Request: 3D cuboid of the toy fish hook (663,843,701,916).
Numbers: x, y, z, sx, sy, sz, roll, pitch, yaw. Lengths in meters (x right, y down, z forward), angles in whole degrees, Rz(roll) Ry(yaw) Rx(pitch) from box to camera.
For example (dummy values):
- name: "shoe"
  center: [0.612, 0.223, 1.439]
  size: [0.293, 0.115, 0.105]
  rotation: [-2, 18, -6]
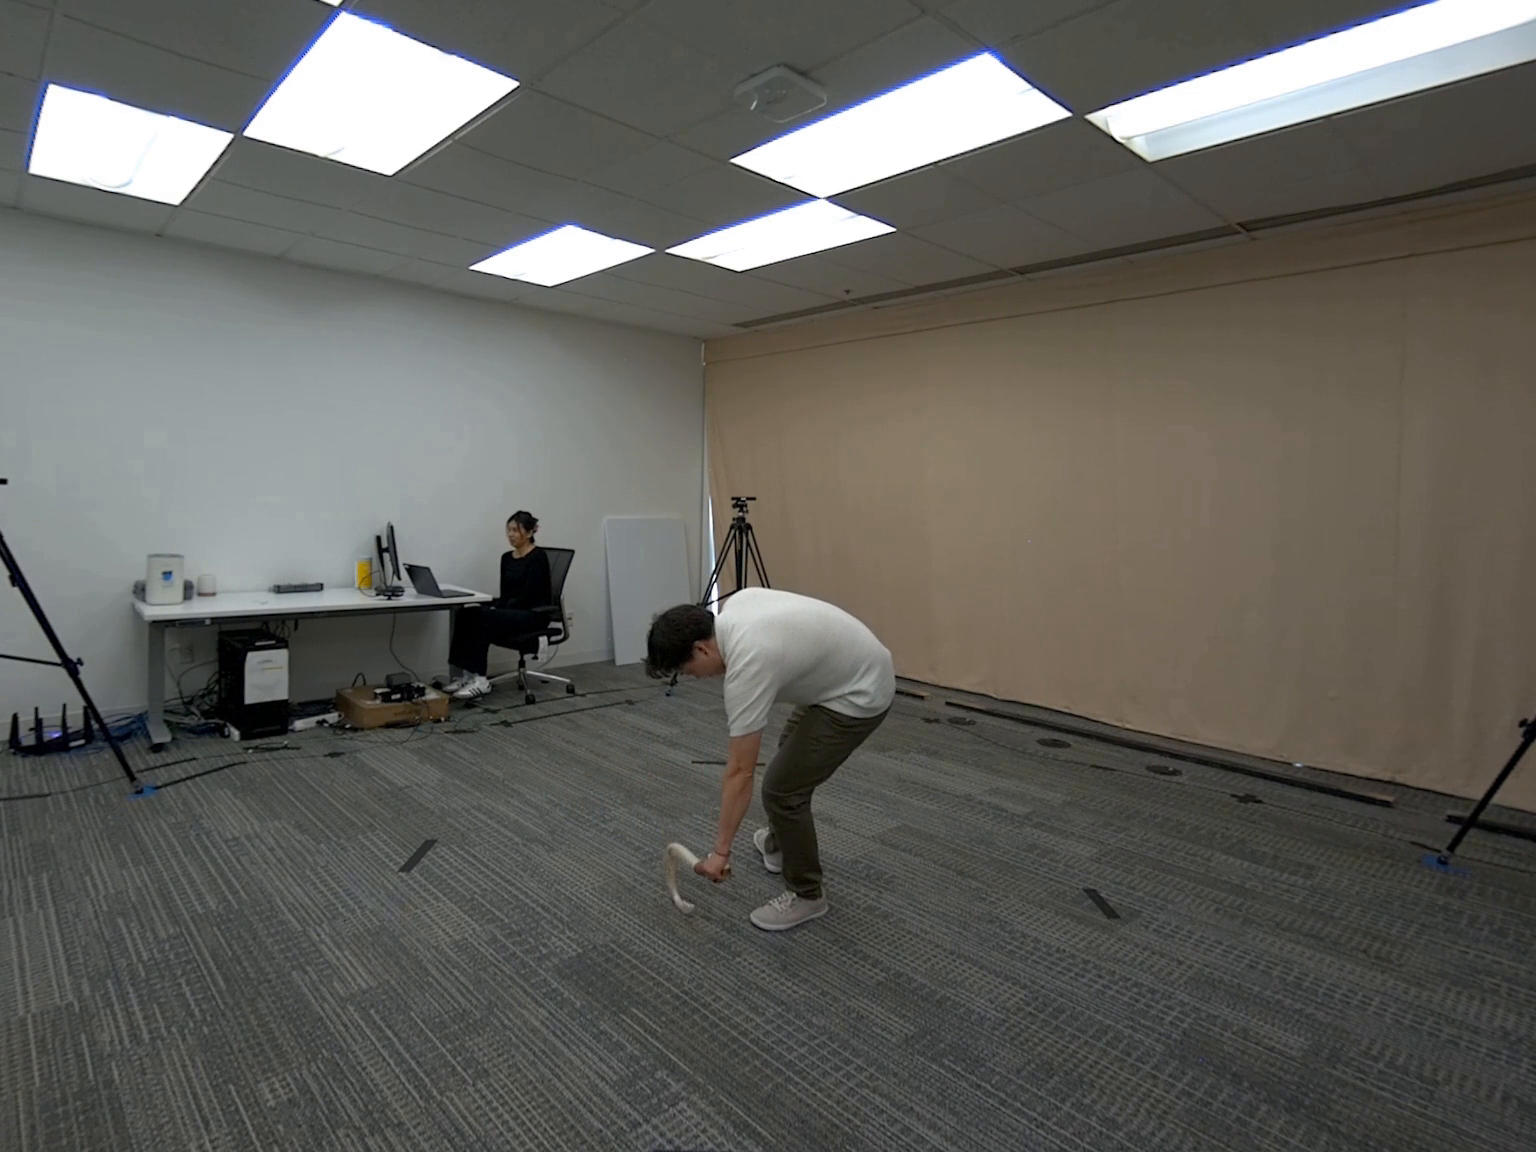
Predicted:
- name: "toy fish hook"
  center: [-0.234, 0.994, 2.732]
  size: [0.047, 0.226, 0.511]
  rotation: [-8, -8, -29]
